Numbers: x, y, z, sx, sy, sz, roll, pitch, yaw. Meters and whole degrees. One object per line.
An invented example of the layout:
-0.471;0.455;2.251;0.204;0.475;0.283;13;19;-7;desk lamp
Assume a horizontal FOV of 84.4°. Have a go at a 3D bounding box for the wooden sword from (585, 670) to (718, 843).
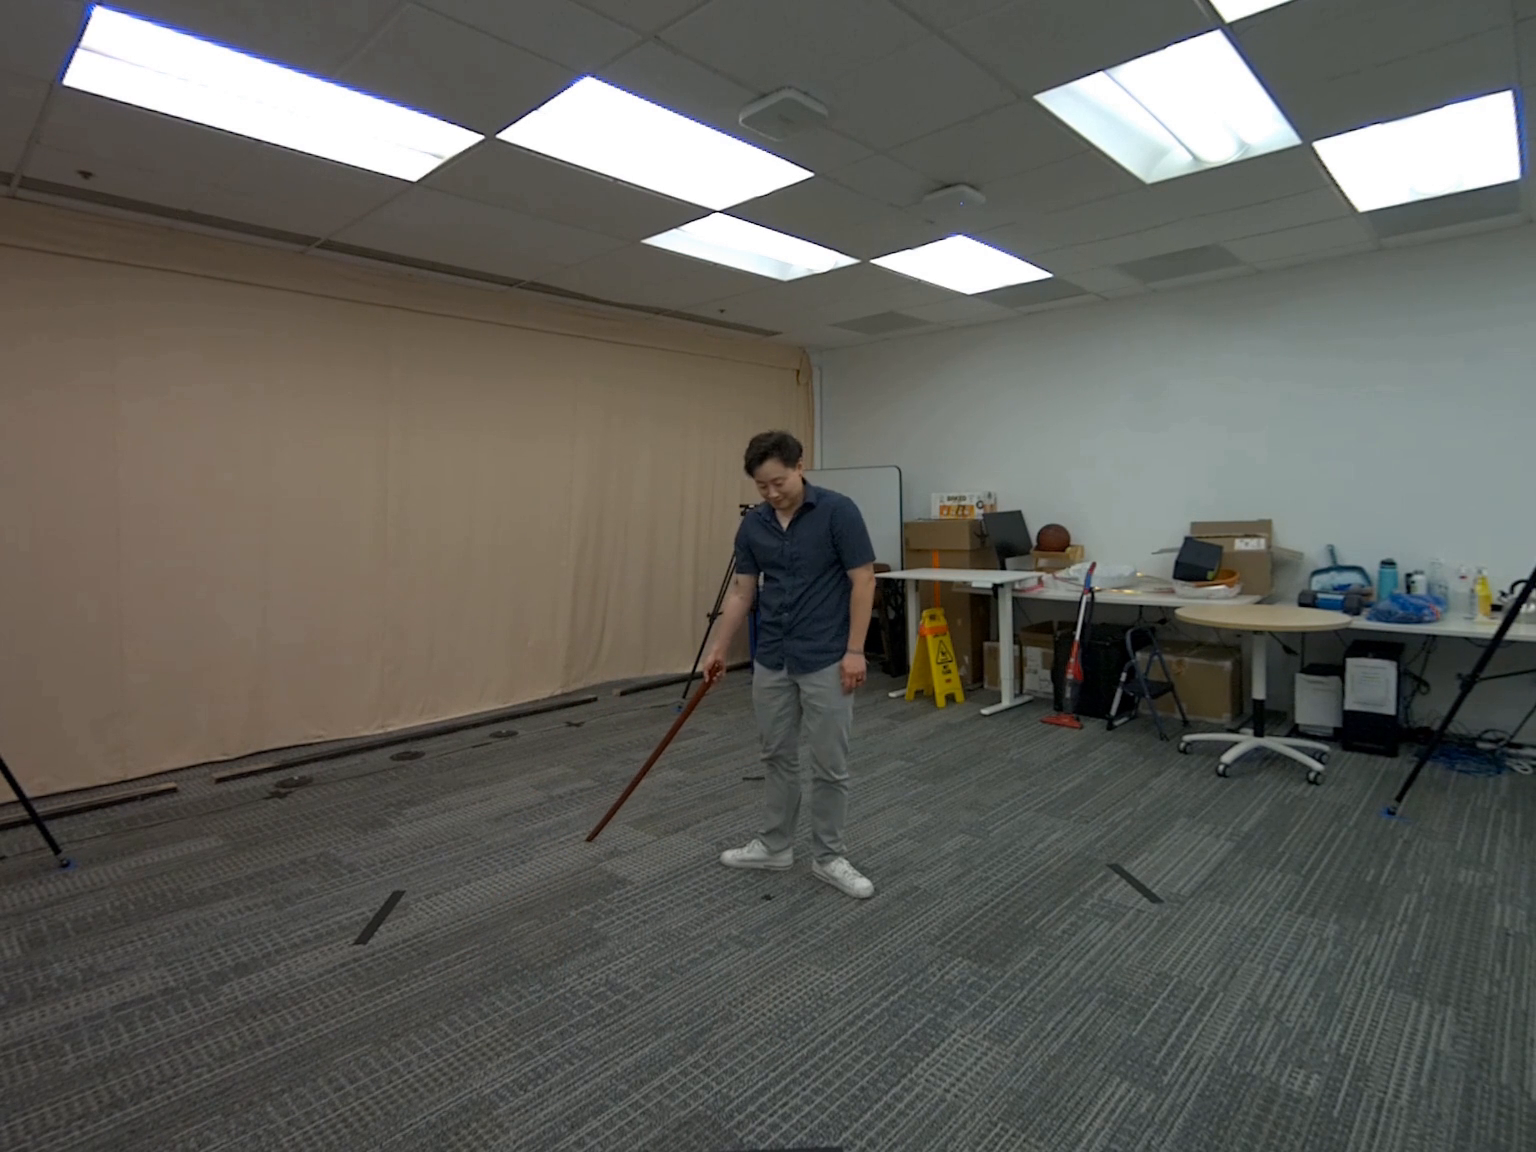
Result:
-0.476;0.740;3.346;0.049;1.027;0.025;17;29;-44;wooden sword
